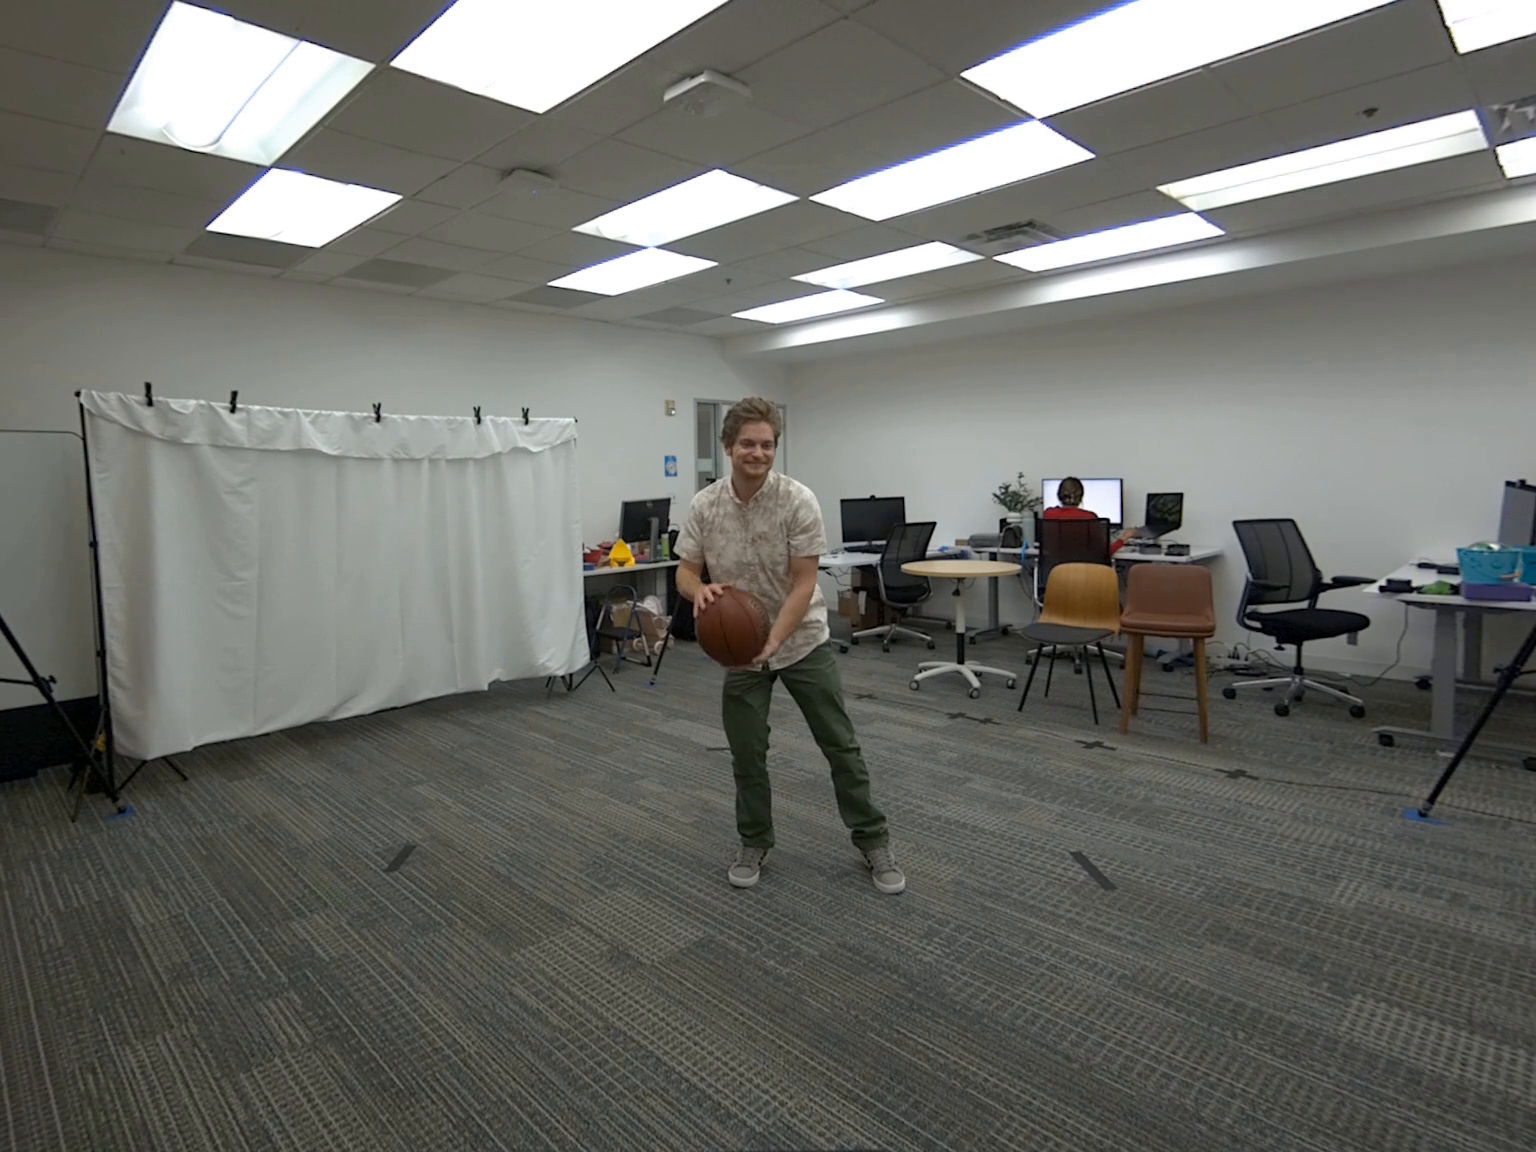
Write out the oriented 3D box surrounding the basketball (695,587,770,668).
[{"bbox_3d":[-0.114,0.162,2.690,0.236,0.235,0.237,-1,5,-2],"label":"basketball"}]
